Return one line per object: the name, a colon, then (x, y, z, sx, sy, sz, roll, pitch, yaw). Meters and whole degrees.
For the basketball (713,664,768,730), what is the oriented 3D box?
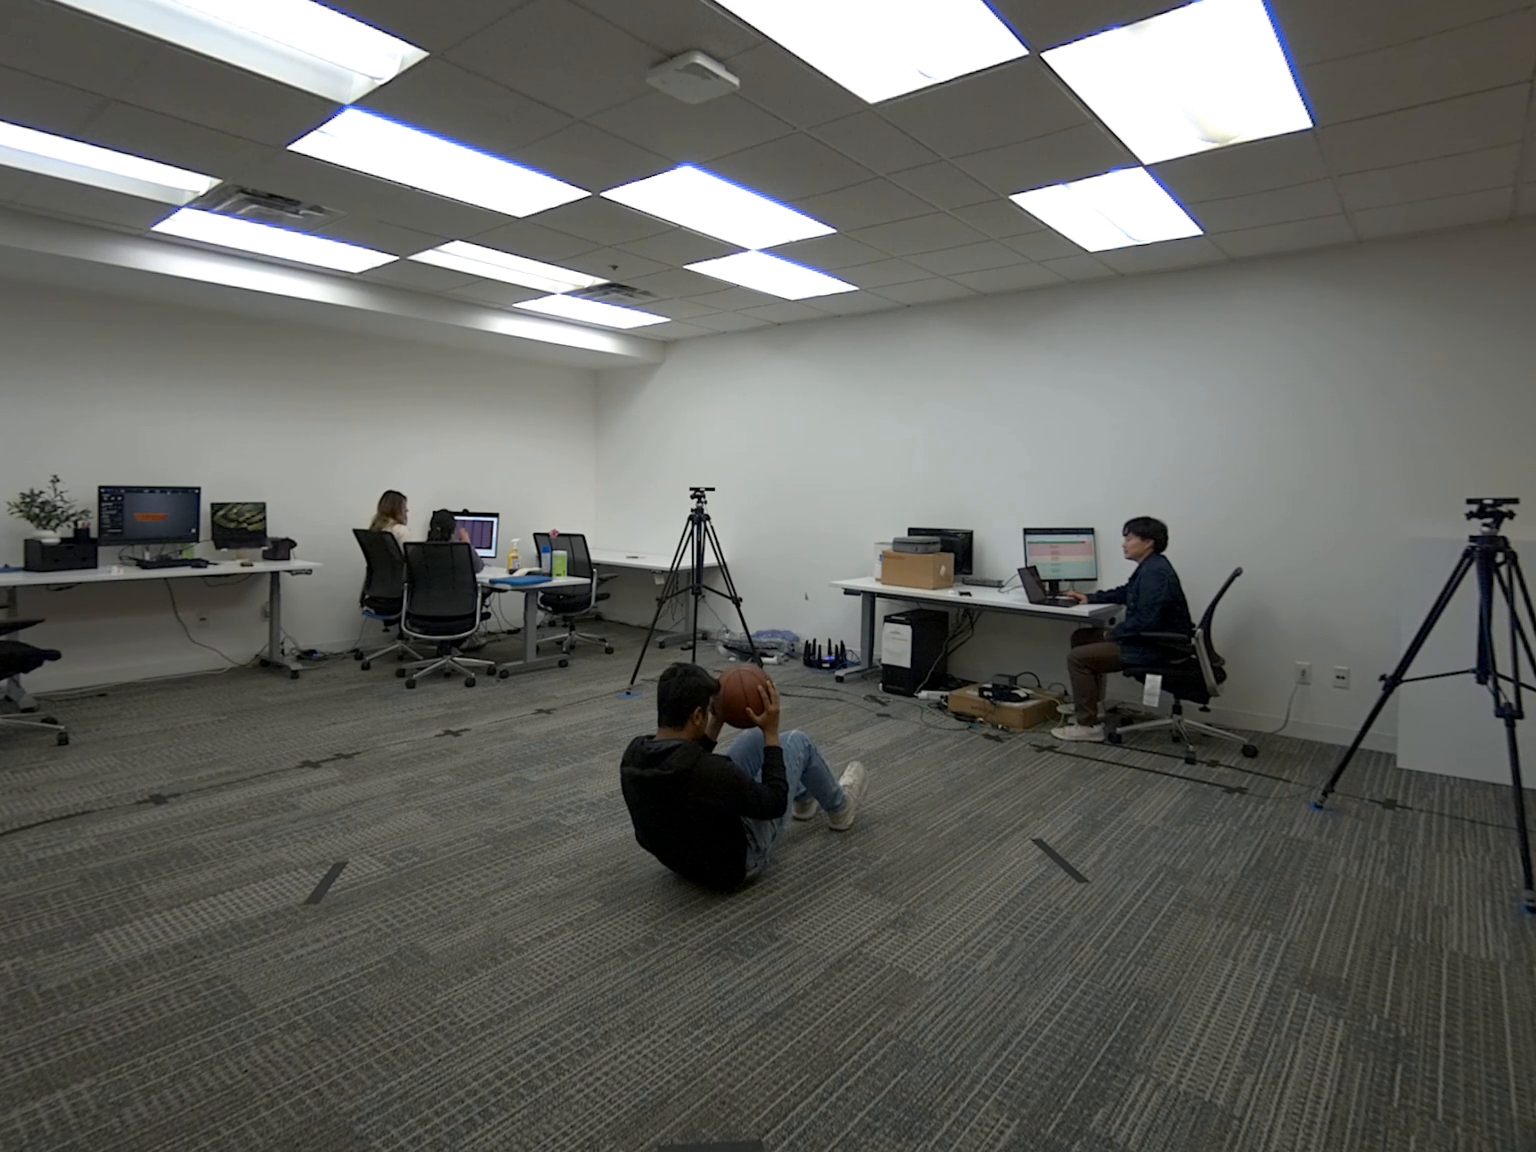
basketball: (-0.111, 0.444, 3.167, 0.235, 0.235, 0.237, 1, 4, -2)
